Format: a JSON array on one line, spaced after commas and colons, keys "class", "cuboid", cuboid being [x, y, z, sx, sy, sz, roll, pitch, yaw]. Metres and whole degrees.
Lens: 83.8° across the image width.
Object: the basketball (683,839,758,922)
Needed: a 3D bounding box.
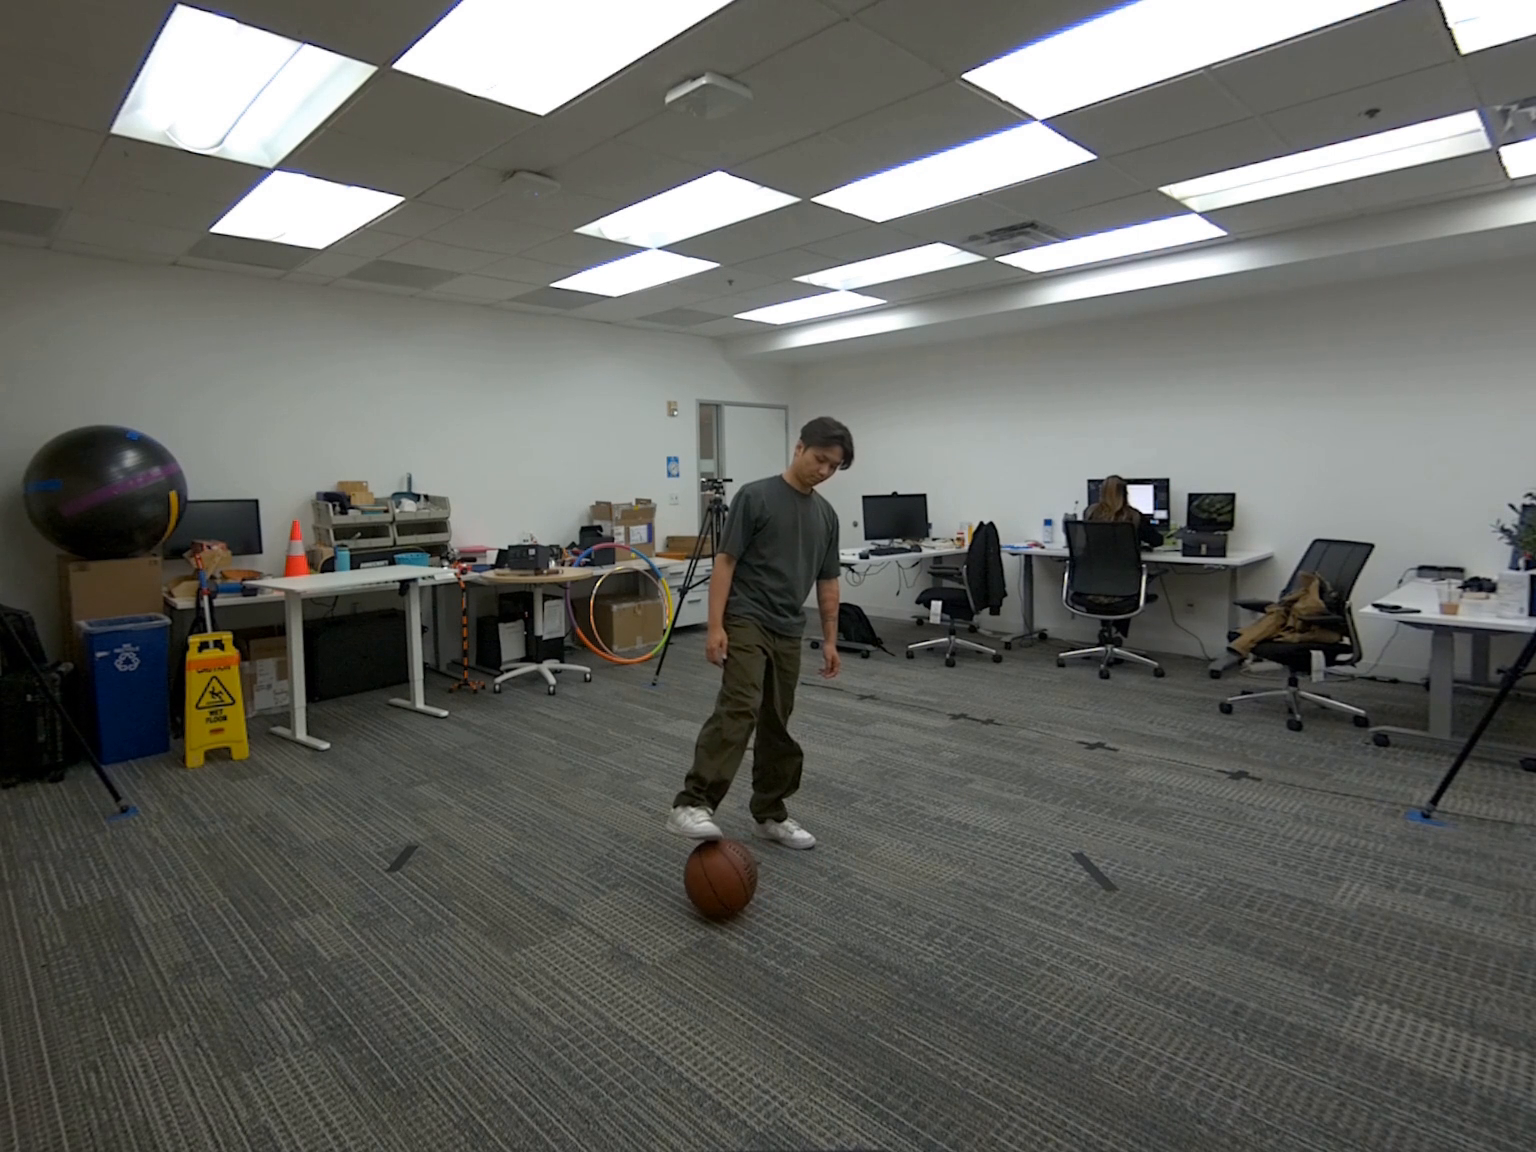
[{"class": "basketball", "cuboid": [-0.150, 0.968, 2.754, 0.236, 0.235, 0.237, -1, 5, -2]}]
